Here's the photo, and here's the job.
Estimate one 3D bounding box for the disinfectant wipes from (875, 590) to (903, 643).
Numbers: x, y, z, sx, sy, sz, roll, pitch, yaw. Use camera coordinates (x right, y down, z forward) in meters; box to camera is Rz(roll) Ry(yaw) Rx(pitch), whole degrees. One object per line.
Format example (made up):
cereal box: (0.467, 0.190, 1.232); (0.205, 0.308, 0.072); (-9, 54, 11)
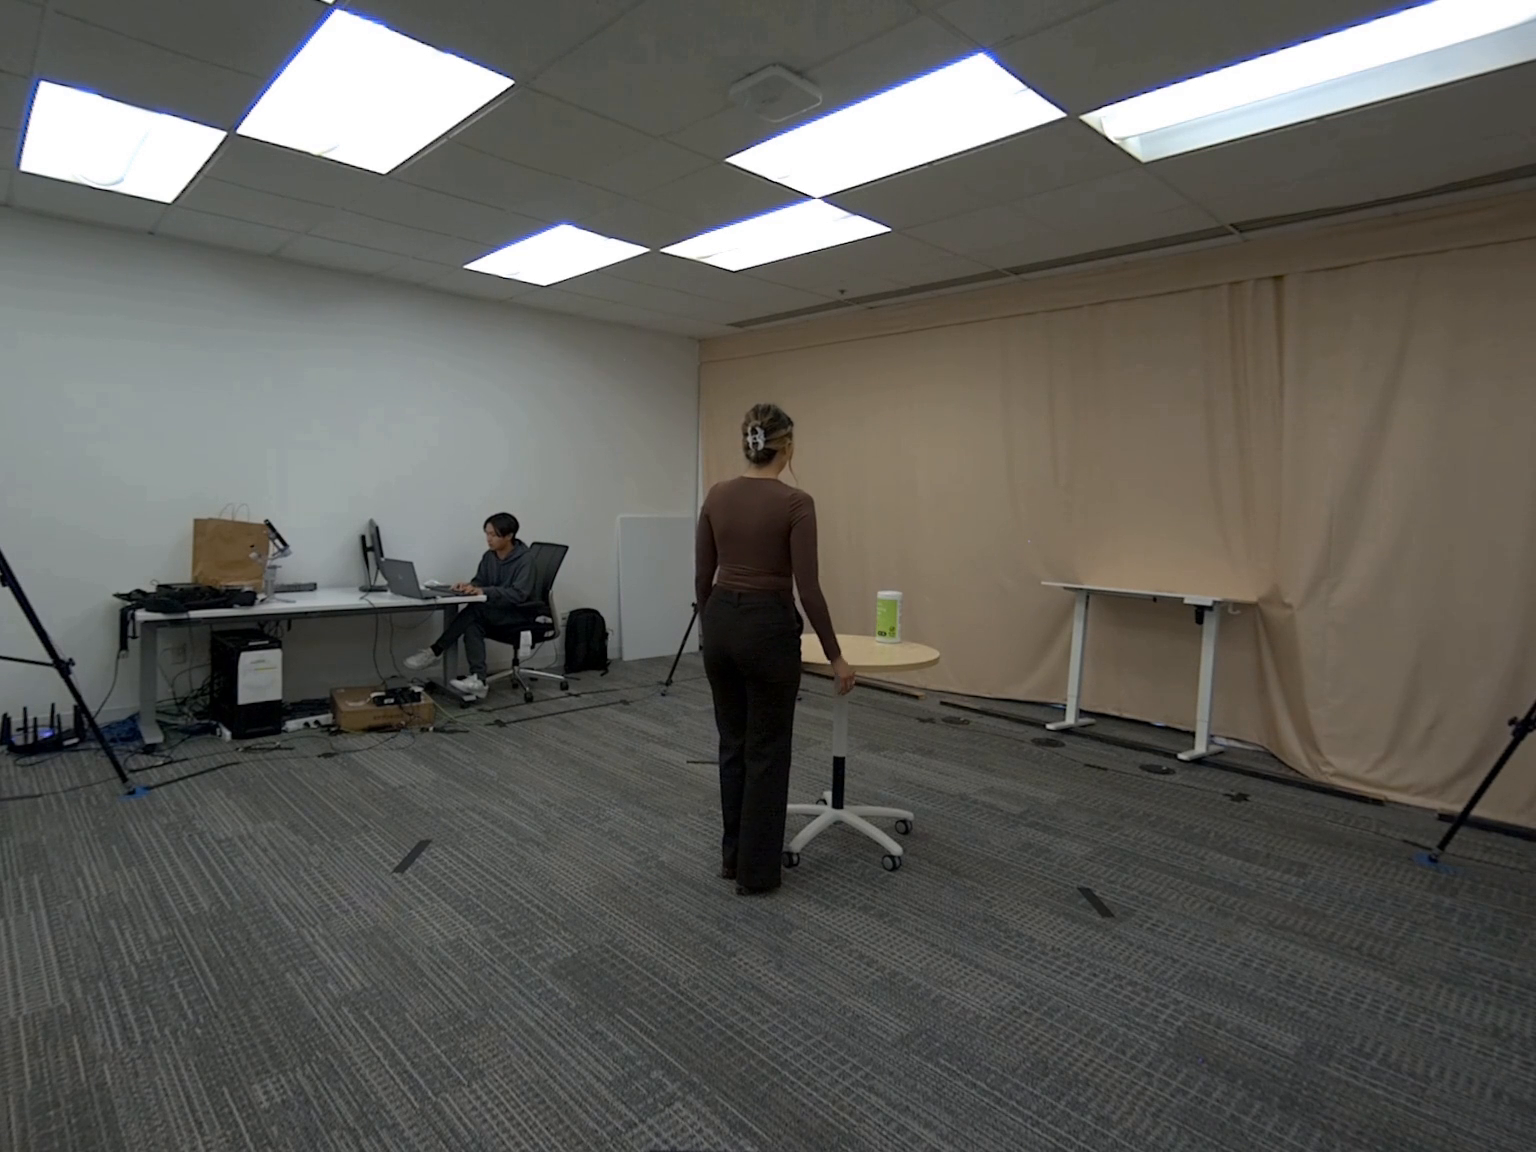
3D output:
disinfectant wipes: (0.518, 0.178, 3.630); (0.118, 0.217, 0.118); (2, 3, -1)
